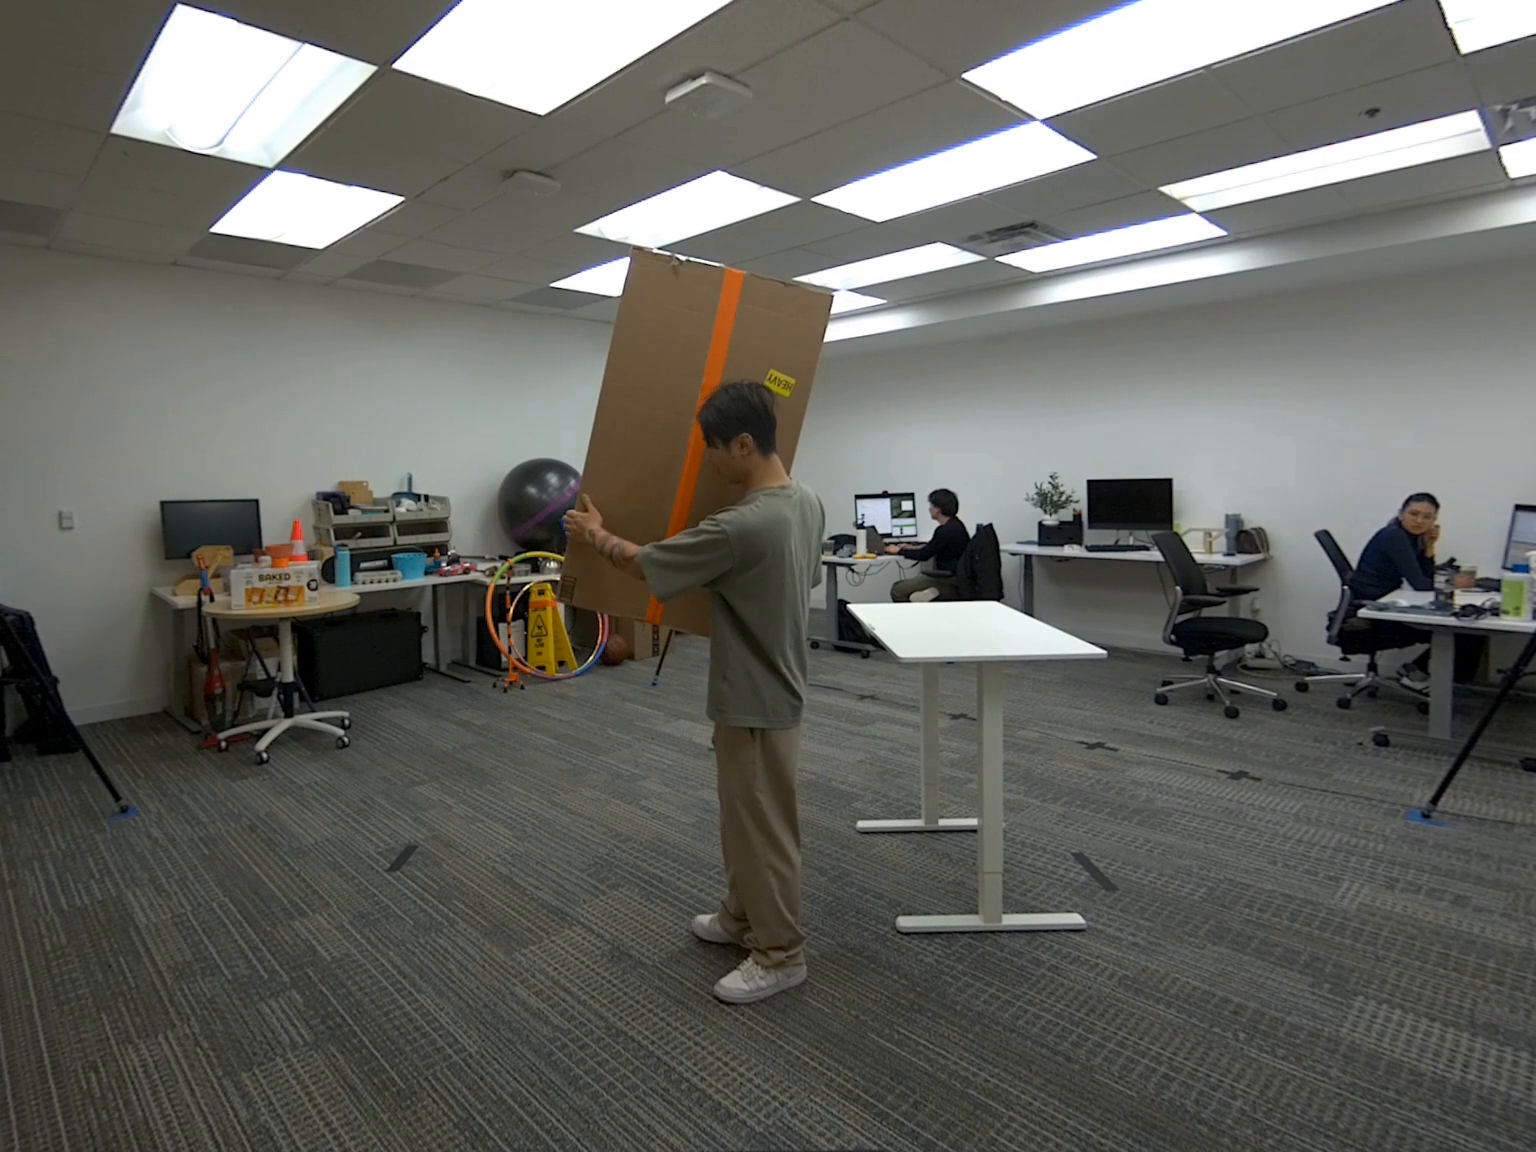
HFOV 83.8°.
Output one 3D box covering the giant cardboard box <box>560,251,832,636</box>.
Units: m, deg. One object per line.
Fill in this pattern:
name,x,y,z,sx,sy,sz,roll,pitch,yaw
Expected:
giant cardboard box,-0.228,-0.385,2.599,0.576,1.019,0.430,14,9,-2
